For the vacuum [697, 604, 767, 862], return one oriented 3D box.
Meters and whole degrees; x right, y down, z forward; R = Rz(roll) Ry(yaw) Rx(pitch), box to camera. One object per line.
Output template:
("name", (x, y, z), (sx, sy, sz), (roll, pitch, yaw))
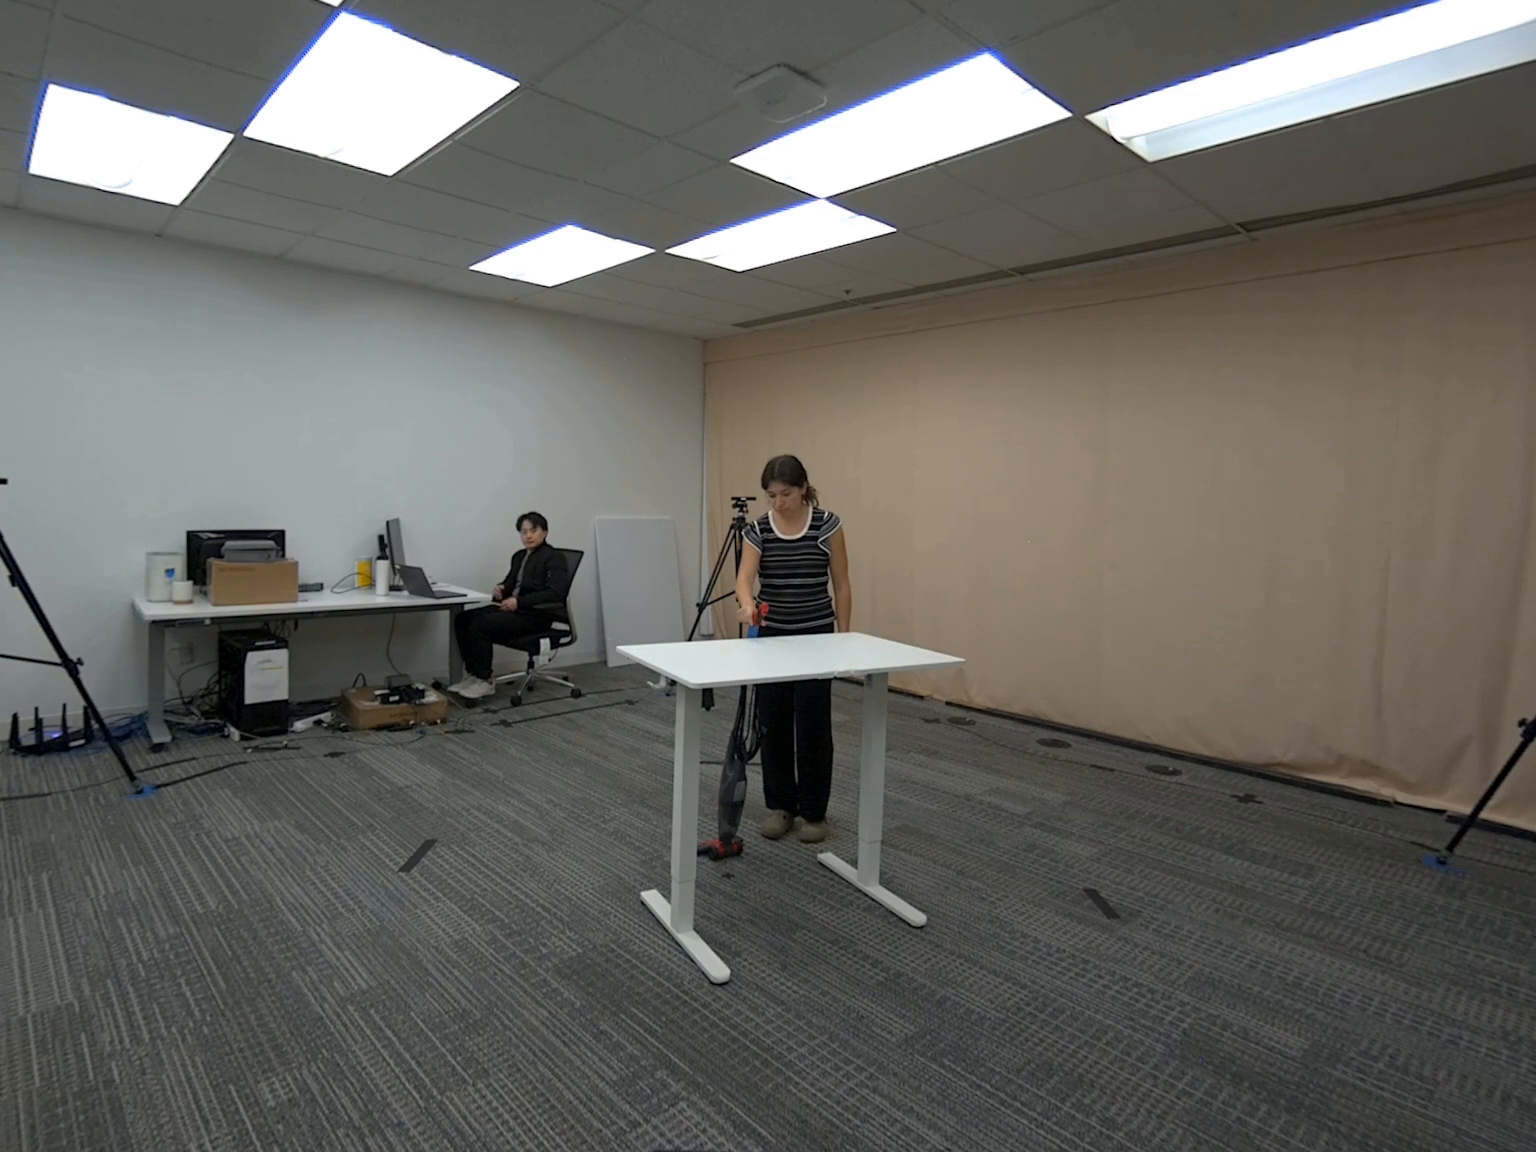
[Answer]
("vacuum", (-0.114, 0.604, 3.164), (0.247, 1.039, 0.148), (-1, 20, -31))
